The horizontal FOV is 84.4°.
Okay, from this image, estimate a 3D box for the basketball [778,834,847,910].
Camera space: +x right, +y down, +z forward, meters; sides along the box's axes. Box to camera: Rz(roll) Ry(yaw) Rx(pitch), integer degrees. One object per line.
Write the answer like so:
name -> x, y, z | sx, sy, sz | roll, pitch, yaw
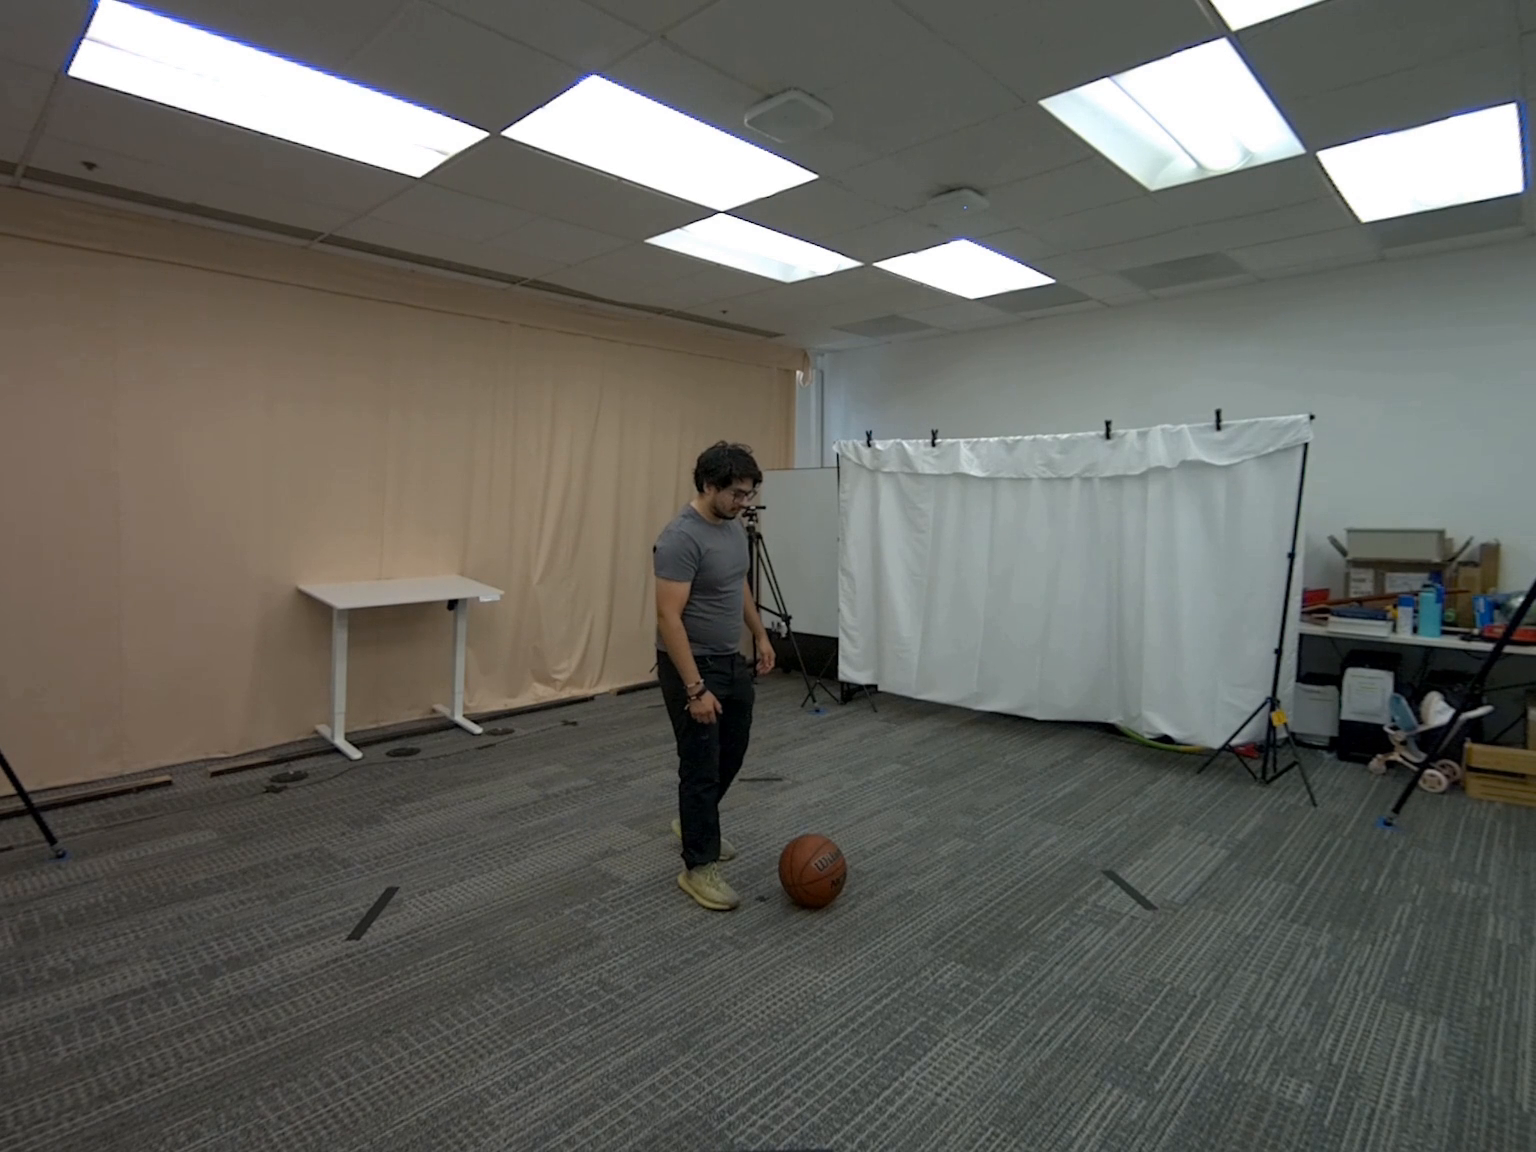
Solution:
basketball -> 0.159, 1.029, 2.948 | 0.236, 0.235, 0.237 | 0, 4, -2
